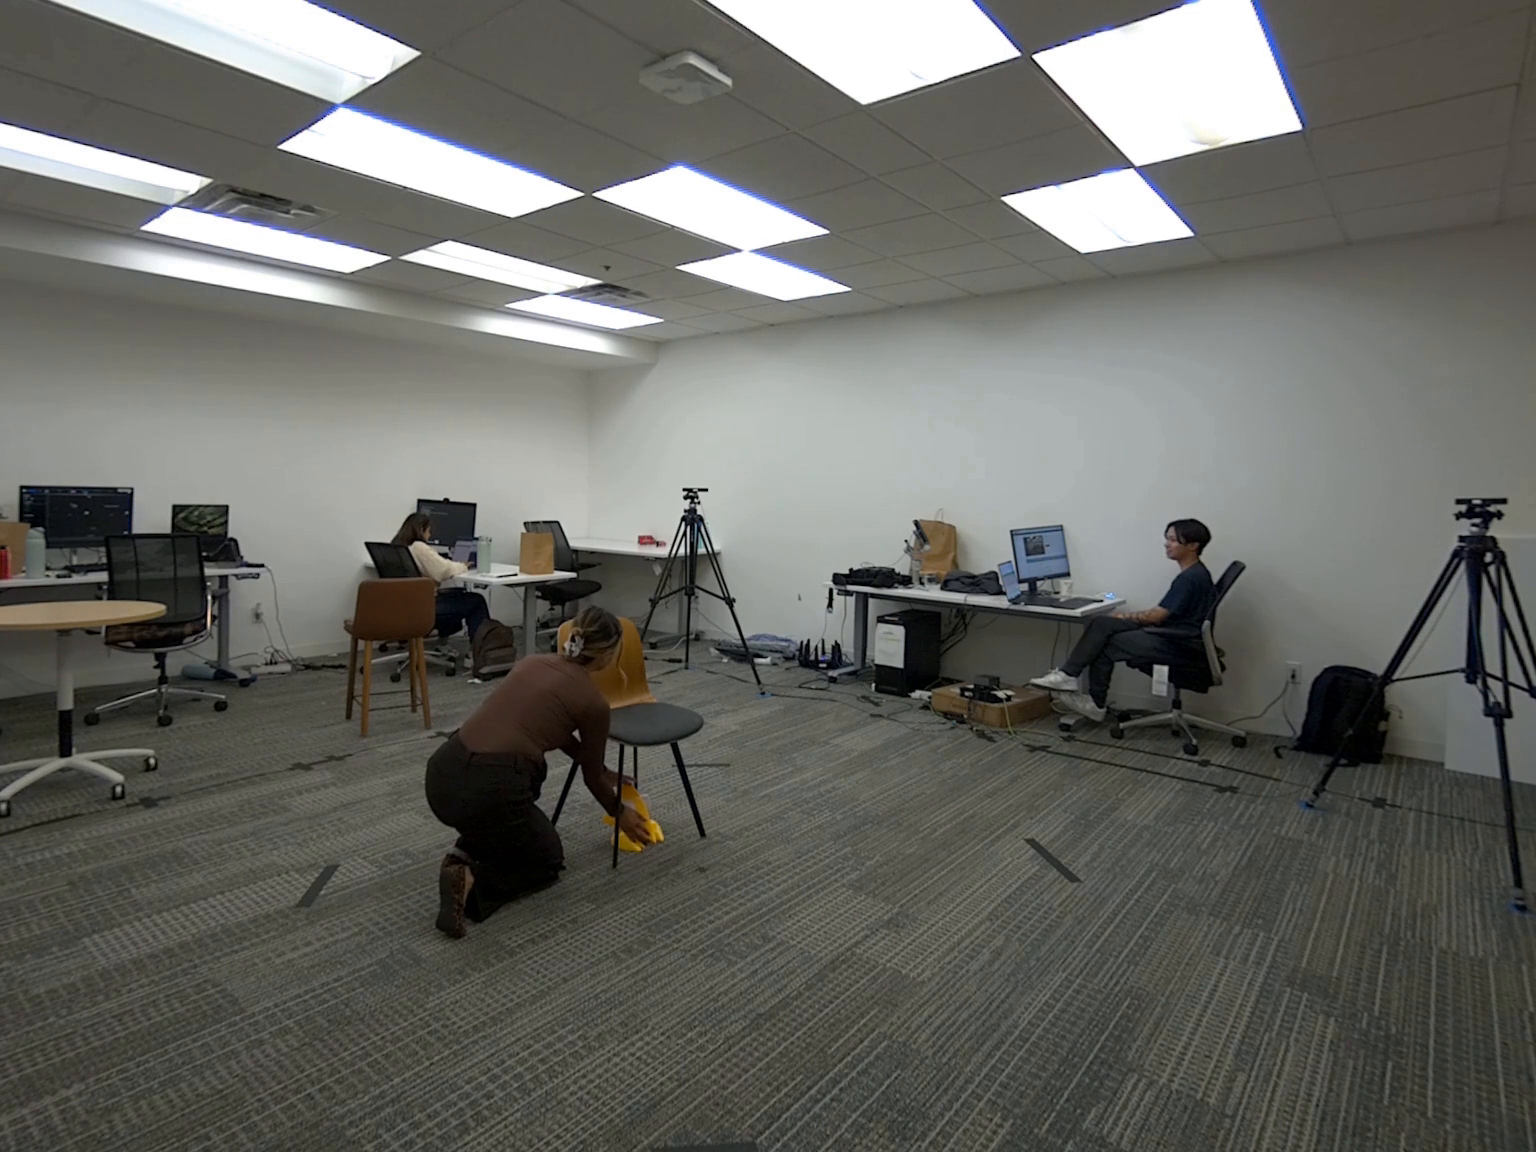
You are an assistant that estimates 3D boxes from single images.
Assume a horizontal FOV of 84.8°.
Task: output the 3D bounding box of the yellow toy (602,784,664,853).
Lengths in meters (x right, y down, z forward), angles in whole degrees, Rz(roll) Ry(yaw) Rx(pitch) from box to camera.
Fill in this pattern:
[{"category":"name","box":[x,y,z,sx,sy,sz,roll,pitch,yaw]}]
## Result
[{"category":"yellow toy","box":[-0.535,0.925,3.358,0.199,0.229,0.199,5,7,37]}]
